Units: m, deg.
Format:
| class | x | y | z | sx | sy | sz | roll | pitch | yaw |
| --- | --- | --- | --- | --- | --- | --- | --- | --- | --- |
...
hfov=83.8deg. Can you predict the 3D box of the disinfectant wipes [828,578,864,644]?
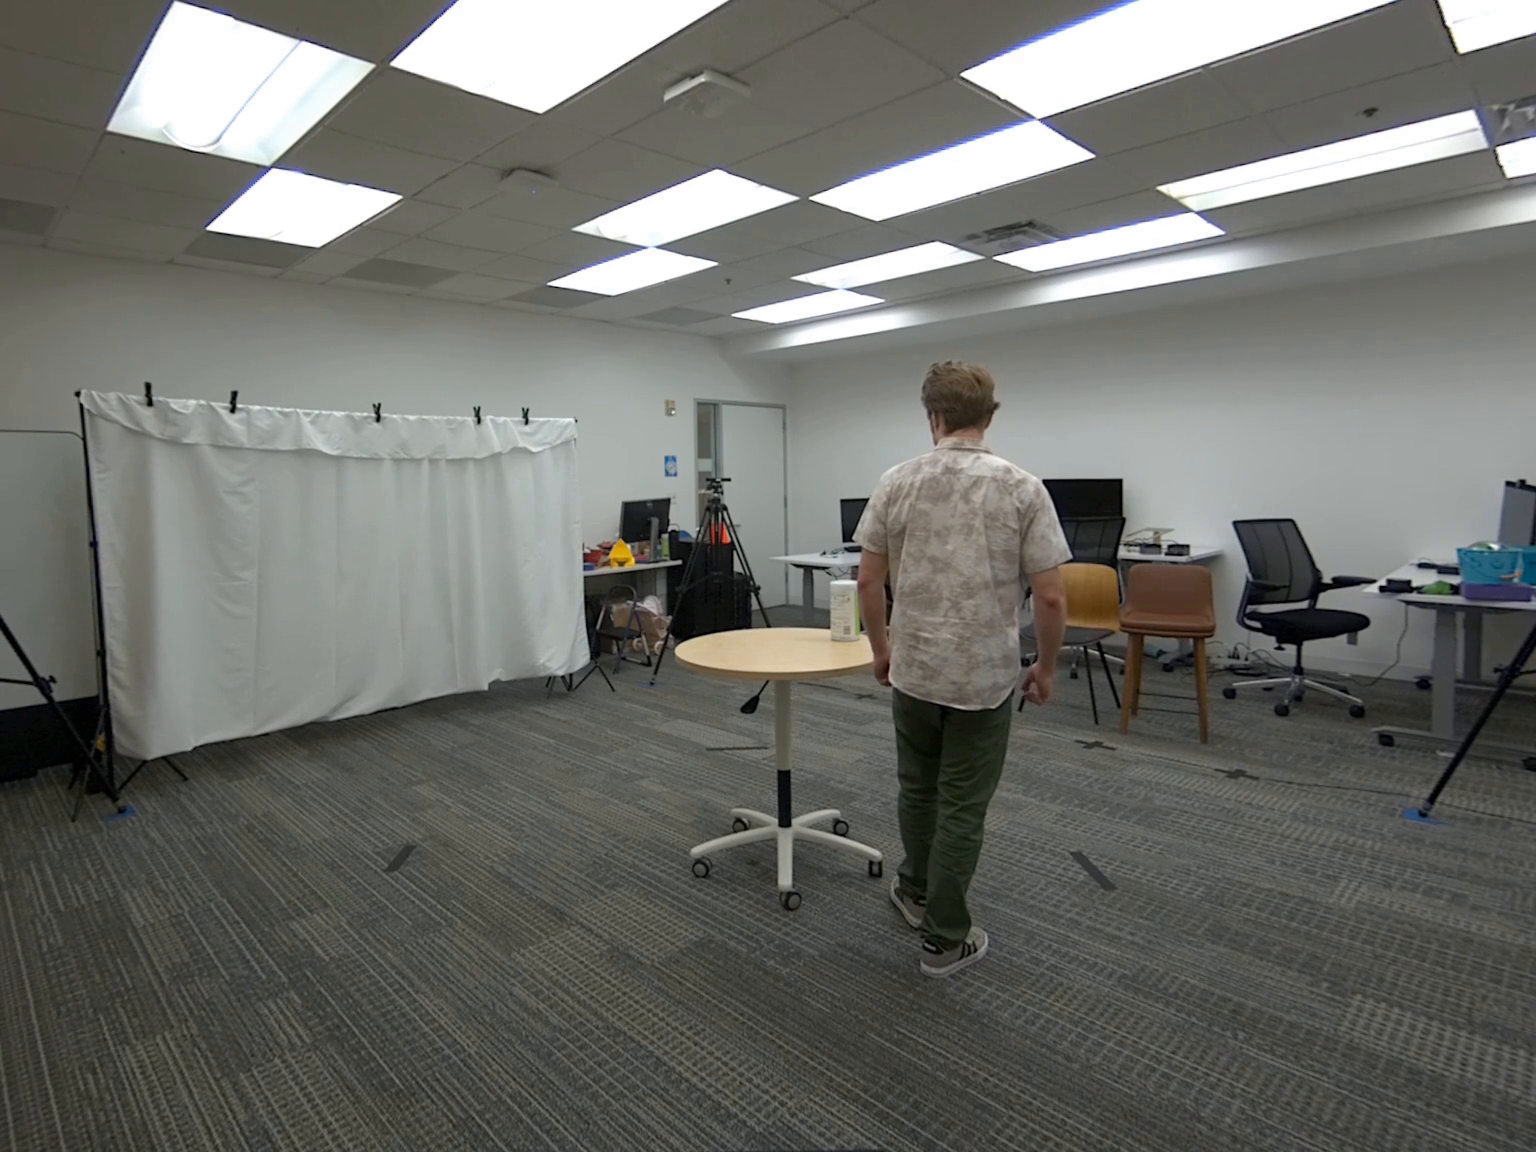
| class | x | y | z | sx | sy | sz | roll | pitch | yaw |
| --- | --- | --- | --- | --- | --- | --- | --- | --- | --- |
| disinfectant wipes | 0.284 | 0.127 | 3.166 | 0.118 | 0.217 | 0.118 | -2 | 3 | -2 |
